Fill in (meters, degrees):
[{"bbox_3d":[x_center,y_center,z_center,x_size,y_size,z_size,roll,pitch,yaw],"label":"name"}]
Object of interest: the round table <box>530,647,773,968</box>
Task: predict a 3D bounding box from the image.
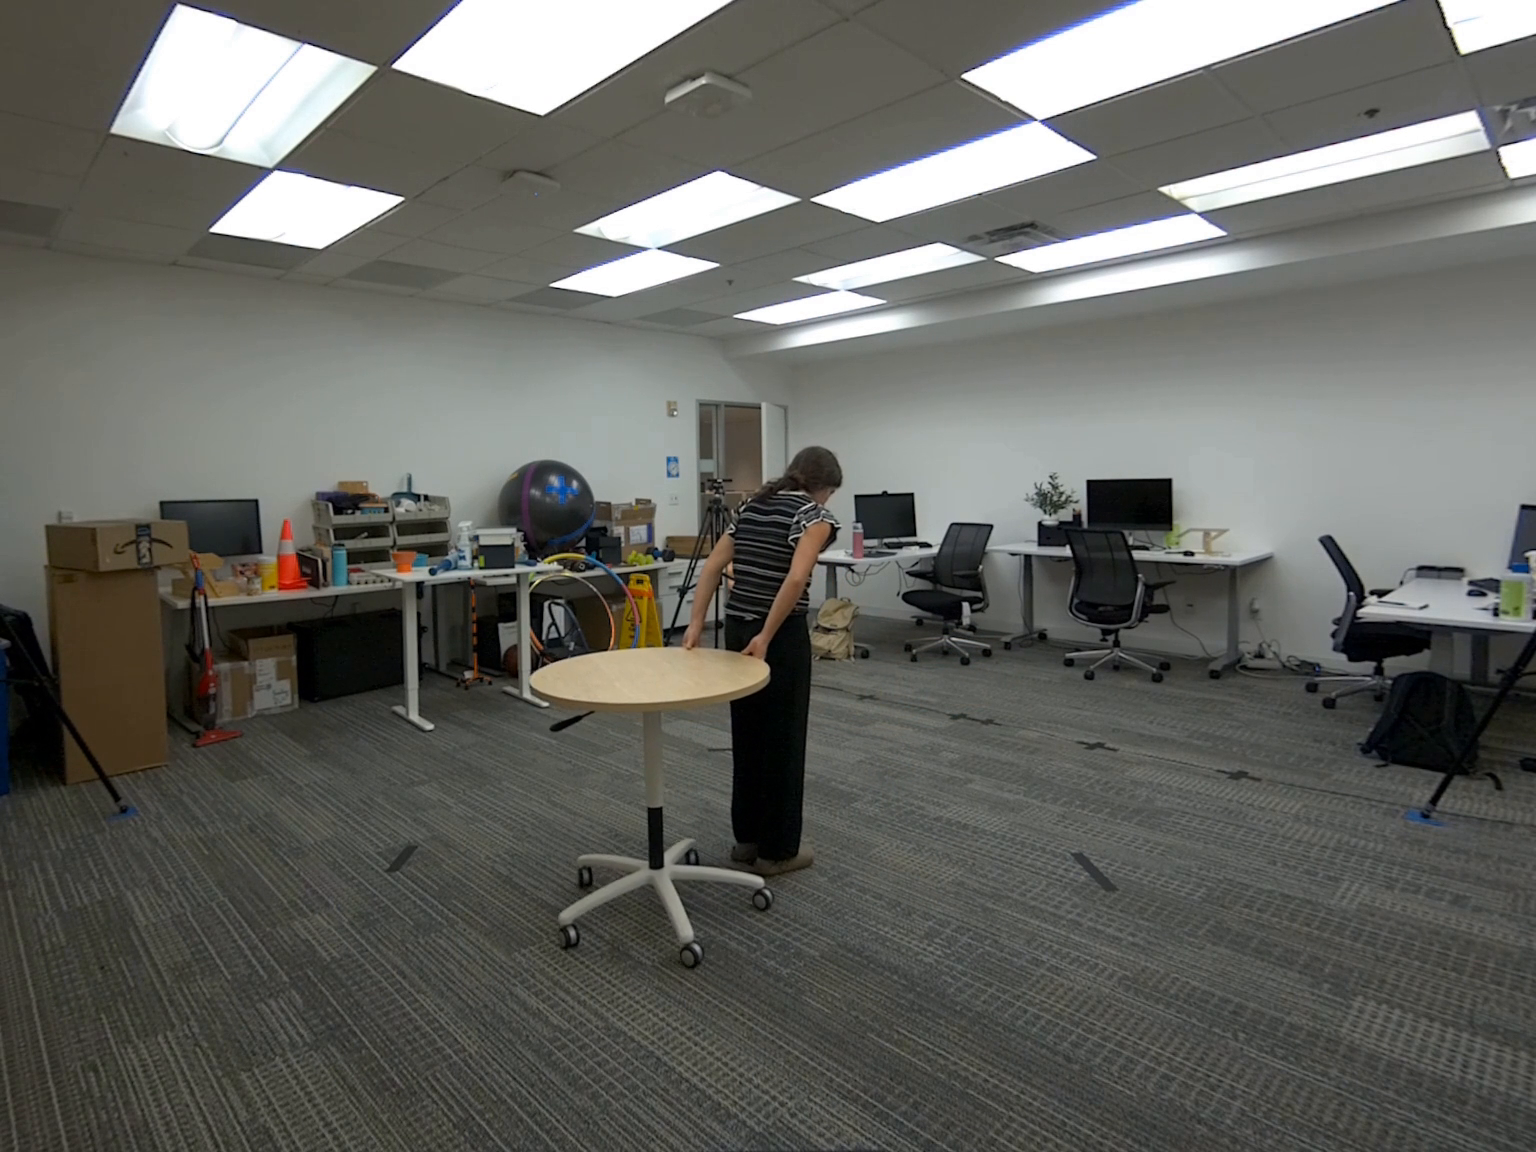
[{"bbox_3d":[-0.359,0.692,2.779,0.784,0.783,0.789,-2,5,-2],"label":"round table"}]
